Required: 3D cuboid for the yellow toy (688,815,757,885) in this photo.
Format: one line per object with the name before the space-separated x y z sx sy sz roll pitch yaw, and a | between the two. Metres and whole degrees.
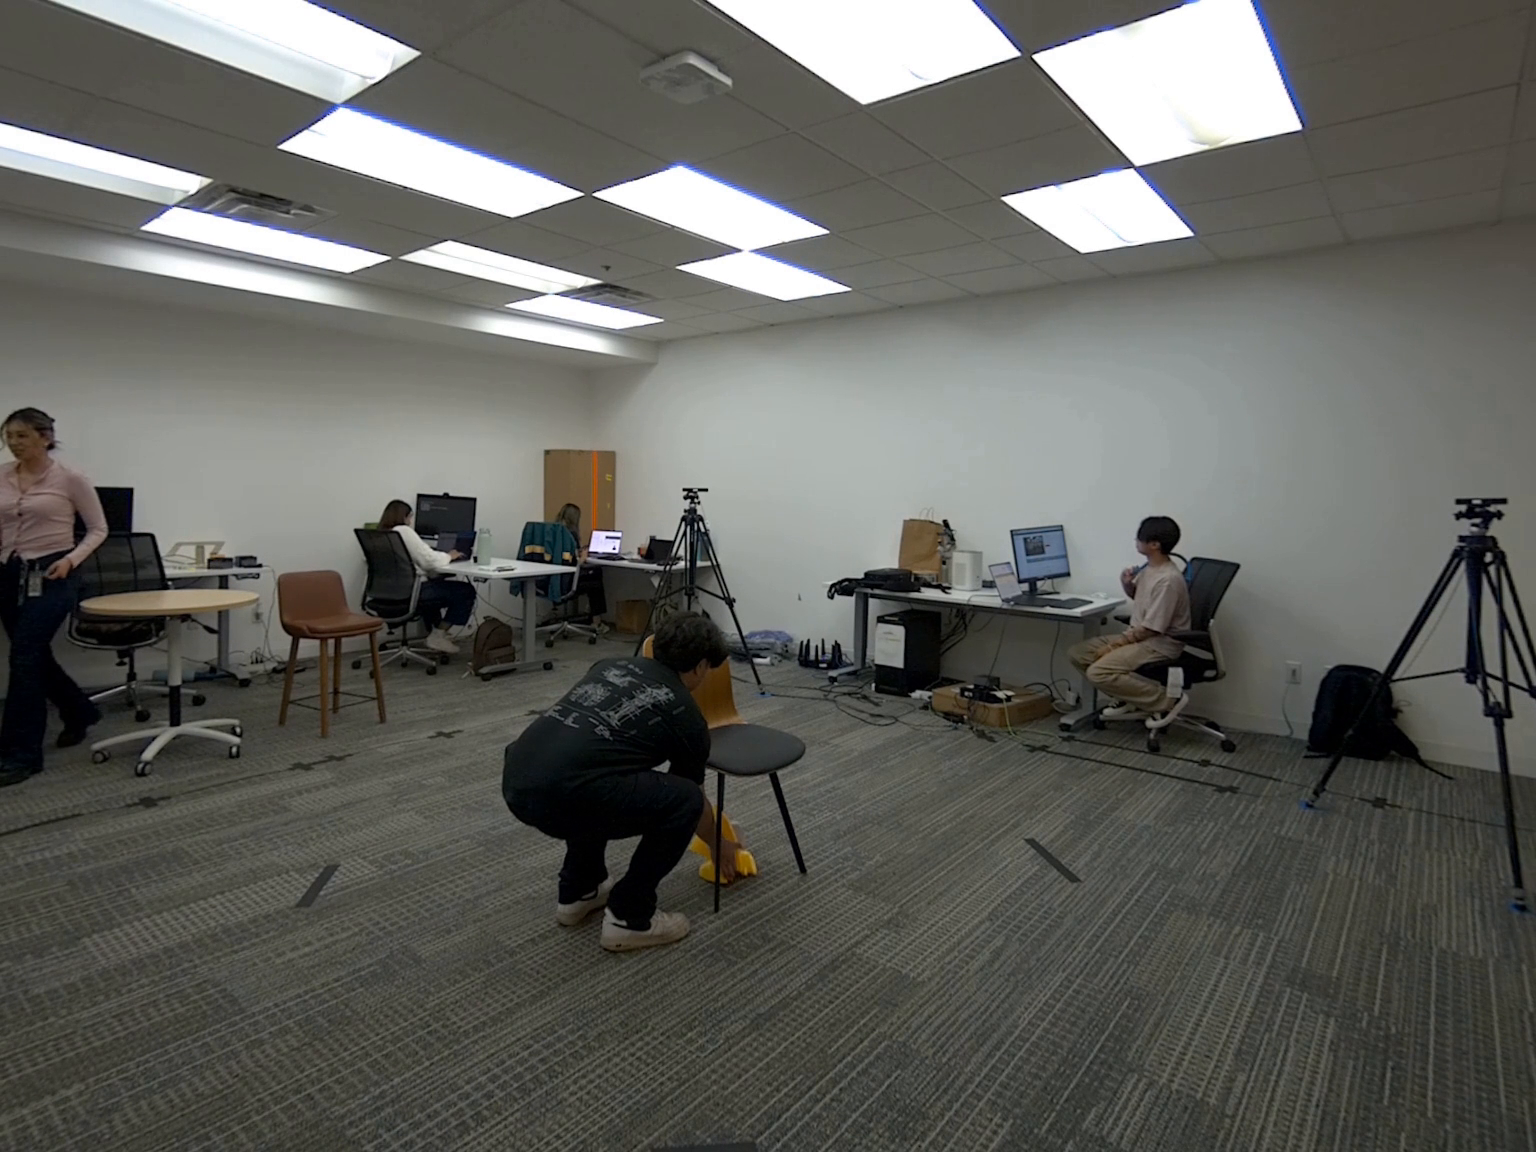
yellow toy | -0.165 0.958 3.085 0.199 0.231 0.198 -4 1 -35
